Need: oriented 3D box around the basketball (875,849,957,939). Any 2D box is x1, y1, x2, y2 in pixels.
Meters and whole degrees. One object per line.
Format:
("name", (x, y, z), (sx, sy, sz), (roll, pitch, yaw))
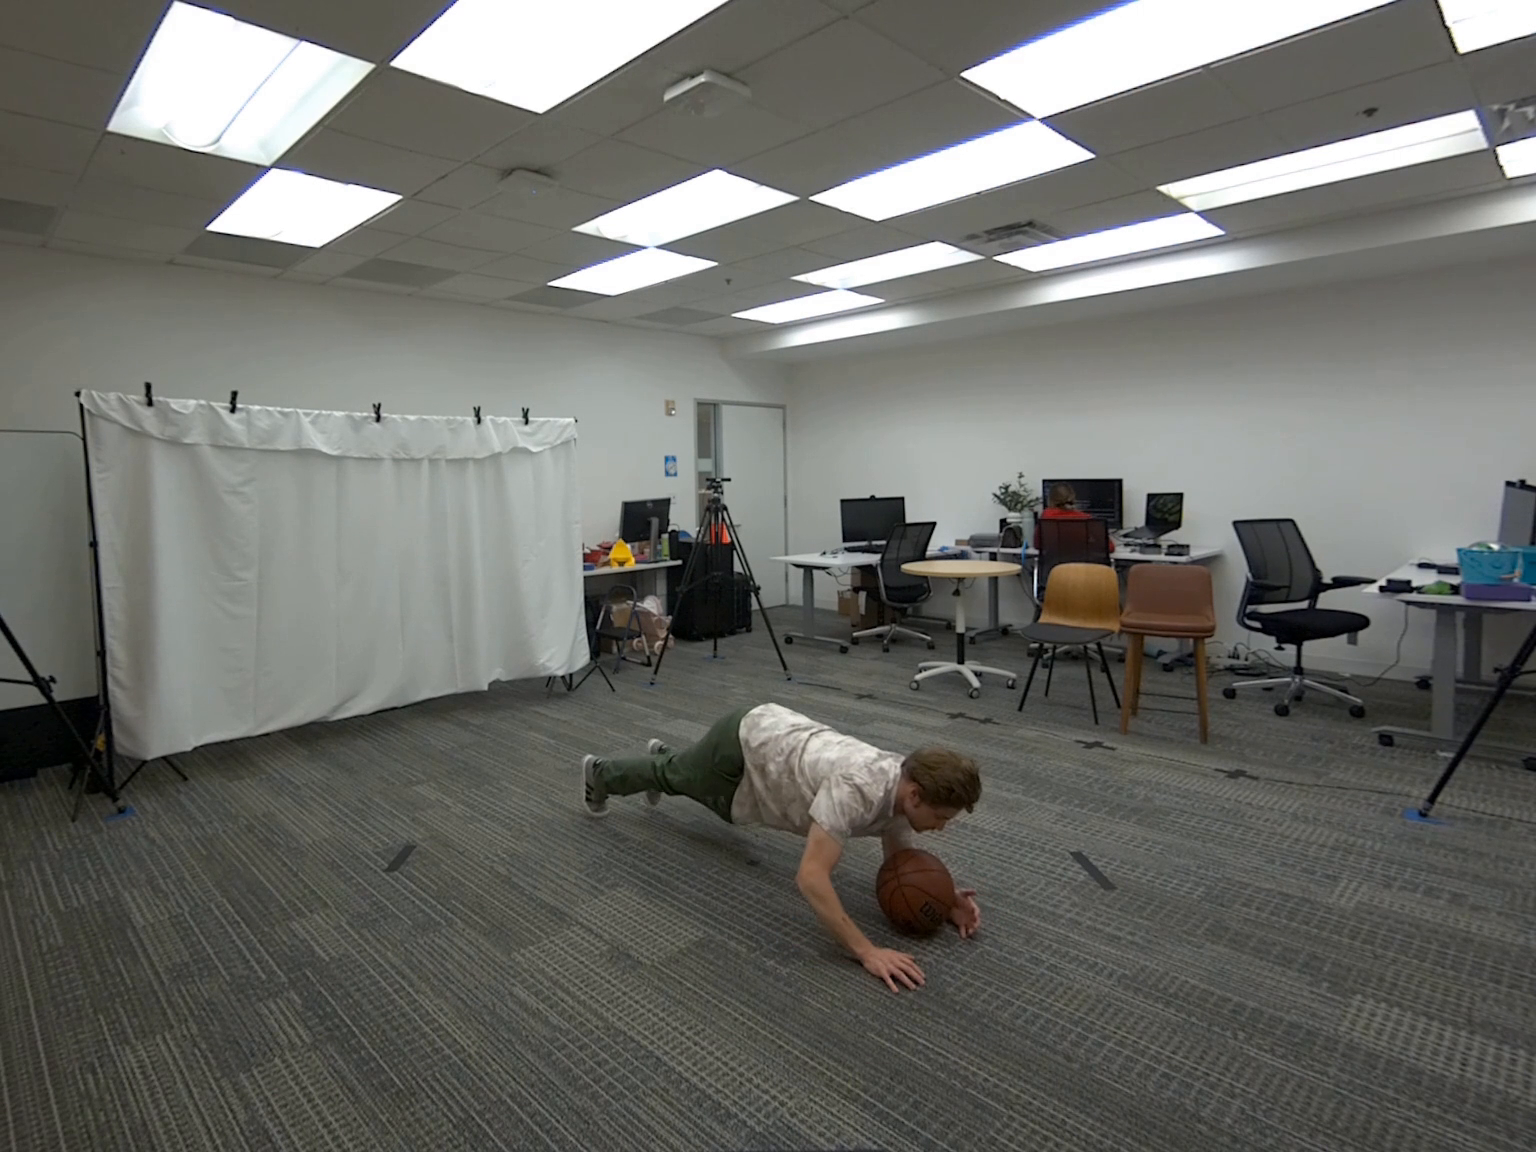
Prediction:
("basketball", (0.458, 0.975, 2.635), (0.236, 0.235, 0.237), (-1, 5, -2))
